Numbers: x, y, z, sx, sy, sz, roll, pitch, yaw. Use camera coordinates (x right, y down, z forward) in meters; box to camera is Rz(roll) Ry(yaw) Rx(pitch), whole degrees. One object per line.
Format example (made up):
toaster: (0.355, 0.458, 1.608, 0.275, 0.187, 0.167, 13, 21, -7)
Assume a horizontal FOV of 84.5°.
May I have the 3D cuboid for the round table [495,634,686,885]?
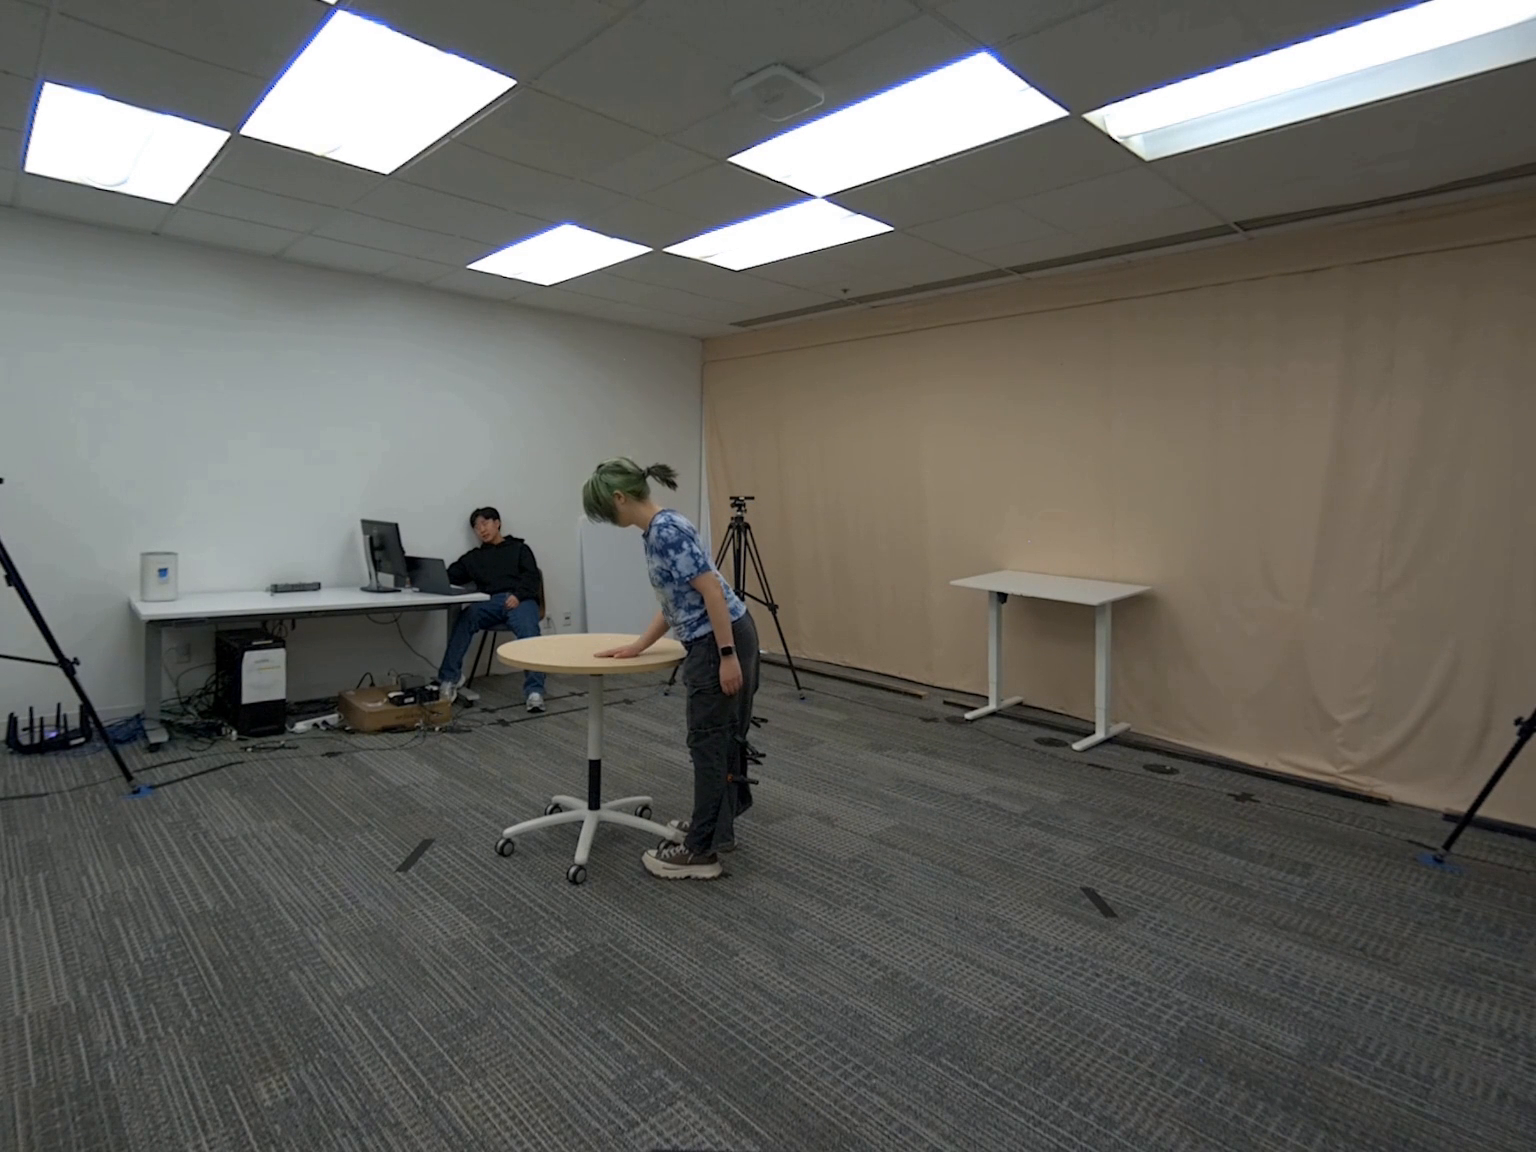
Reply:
round table: (-0.680, 0.674, 3.351, 0.784, 0.784, 0.788, 1, 4, -1)
